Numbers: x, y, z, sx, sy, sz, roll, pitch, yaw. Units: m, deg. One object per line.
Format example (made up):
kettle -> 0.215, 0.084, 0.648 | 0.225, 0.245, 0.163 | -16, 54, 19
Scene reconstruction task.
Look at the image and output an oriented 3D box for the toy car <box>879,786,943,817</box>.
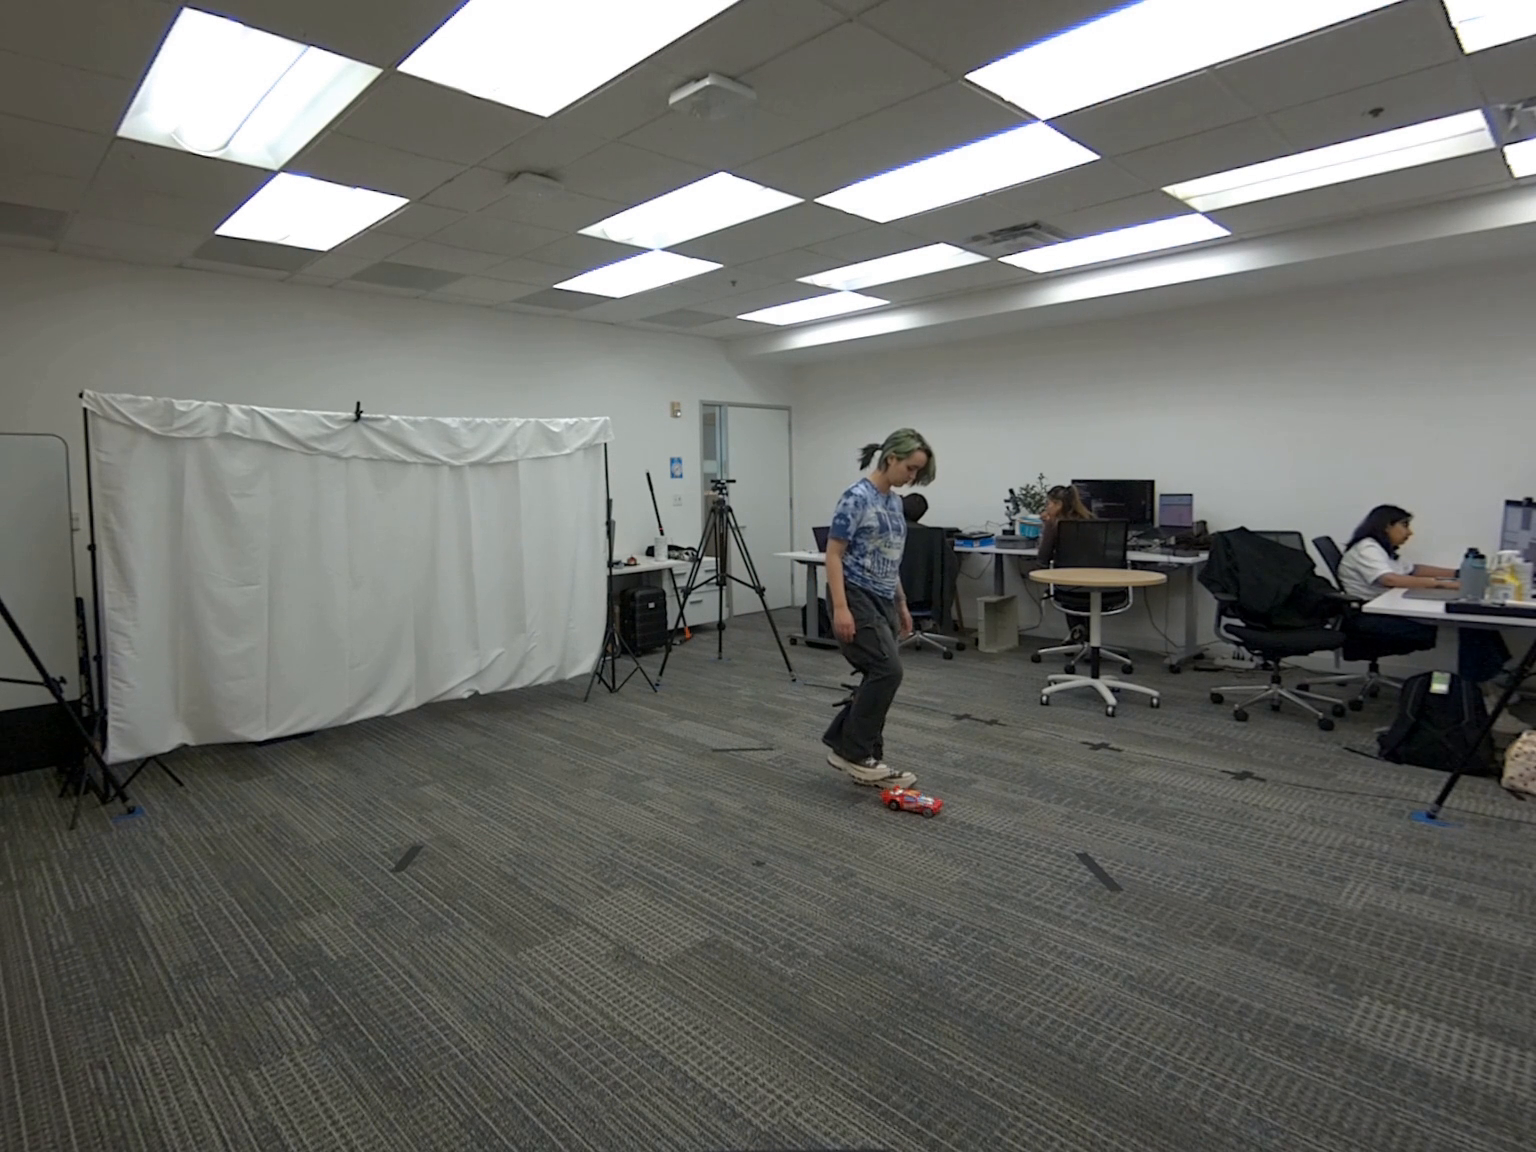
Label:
toy car -> 0.599, 0.952, 3.603 | 0.262, 0.082, 0.127 | 15, 14, 31
